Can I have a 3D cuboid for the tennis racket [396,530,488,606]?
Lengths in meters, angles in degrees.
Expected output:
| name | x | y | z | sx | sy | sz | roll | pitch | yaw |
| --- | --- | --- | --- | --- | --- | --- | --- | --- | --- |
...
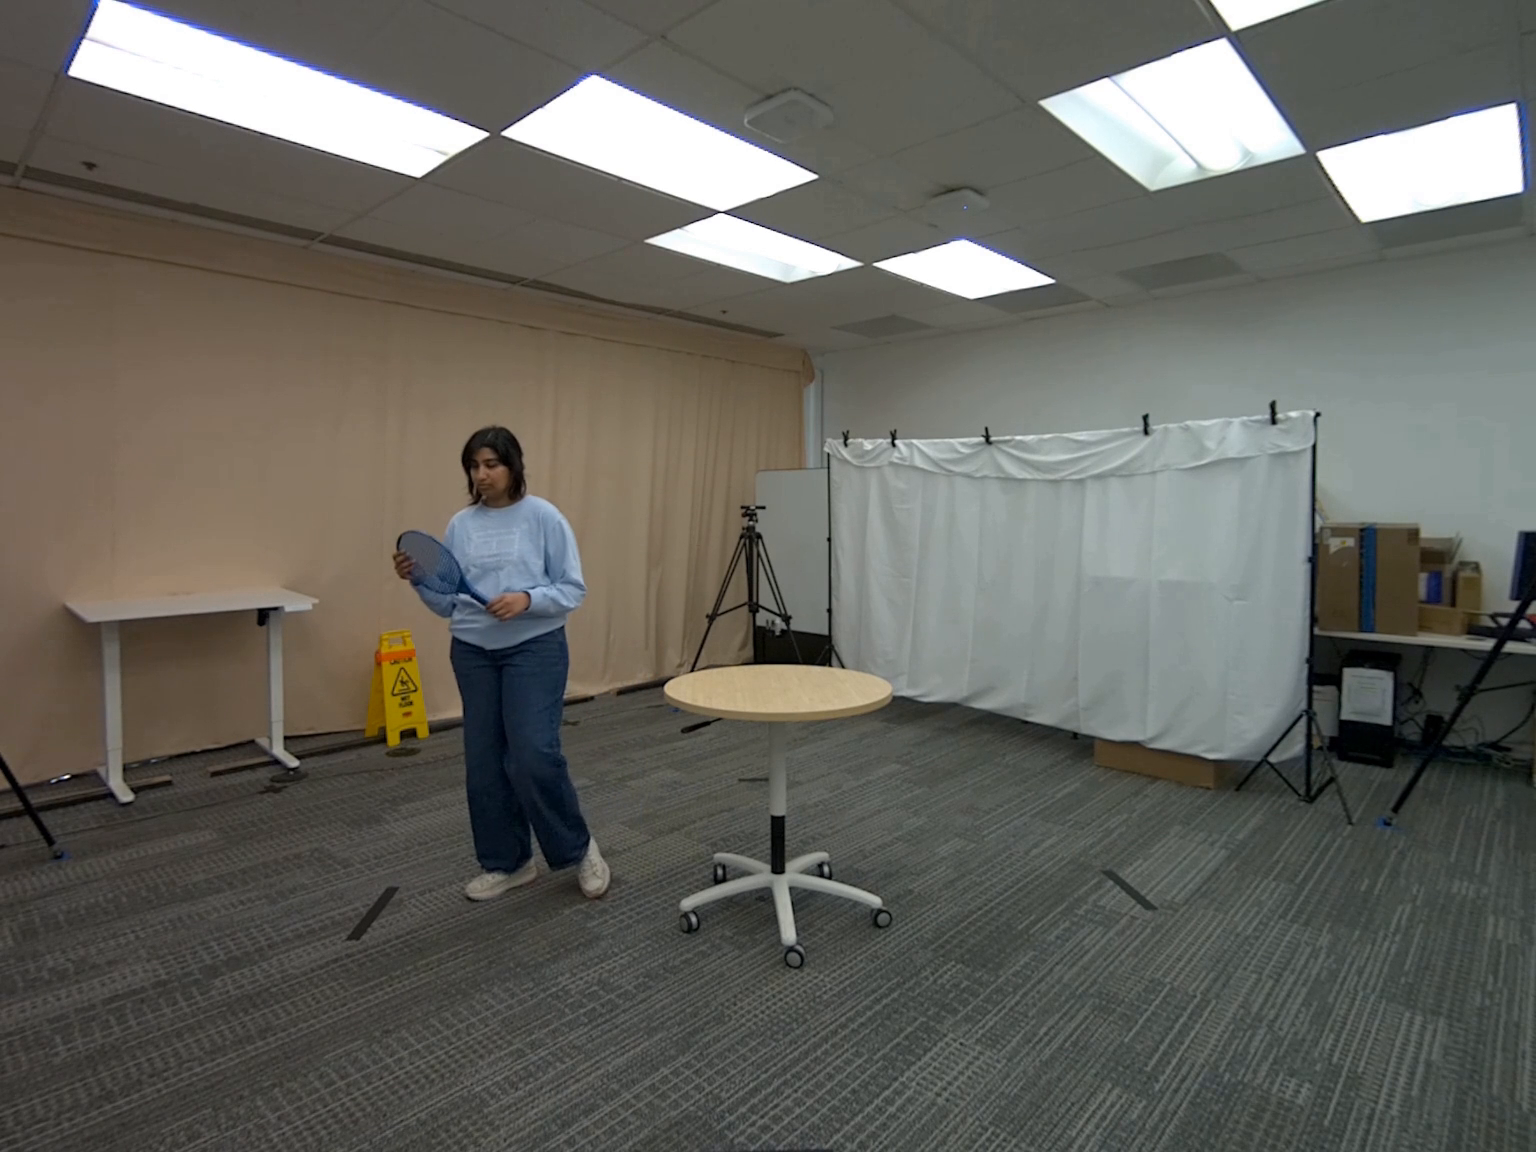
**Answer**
| name | x | y | z | sx | sy | sz | roll | pitch | yaw |
| --- | --- | --- | --- | --- | --- | --- | --- | --- | --- |
| tennis racket | -1.036 | -0.001 | 2.780 | 0.437 | 0.213 | 0.031 | 33 | 34 | 7 |
